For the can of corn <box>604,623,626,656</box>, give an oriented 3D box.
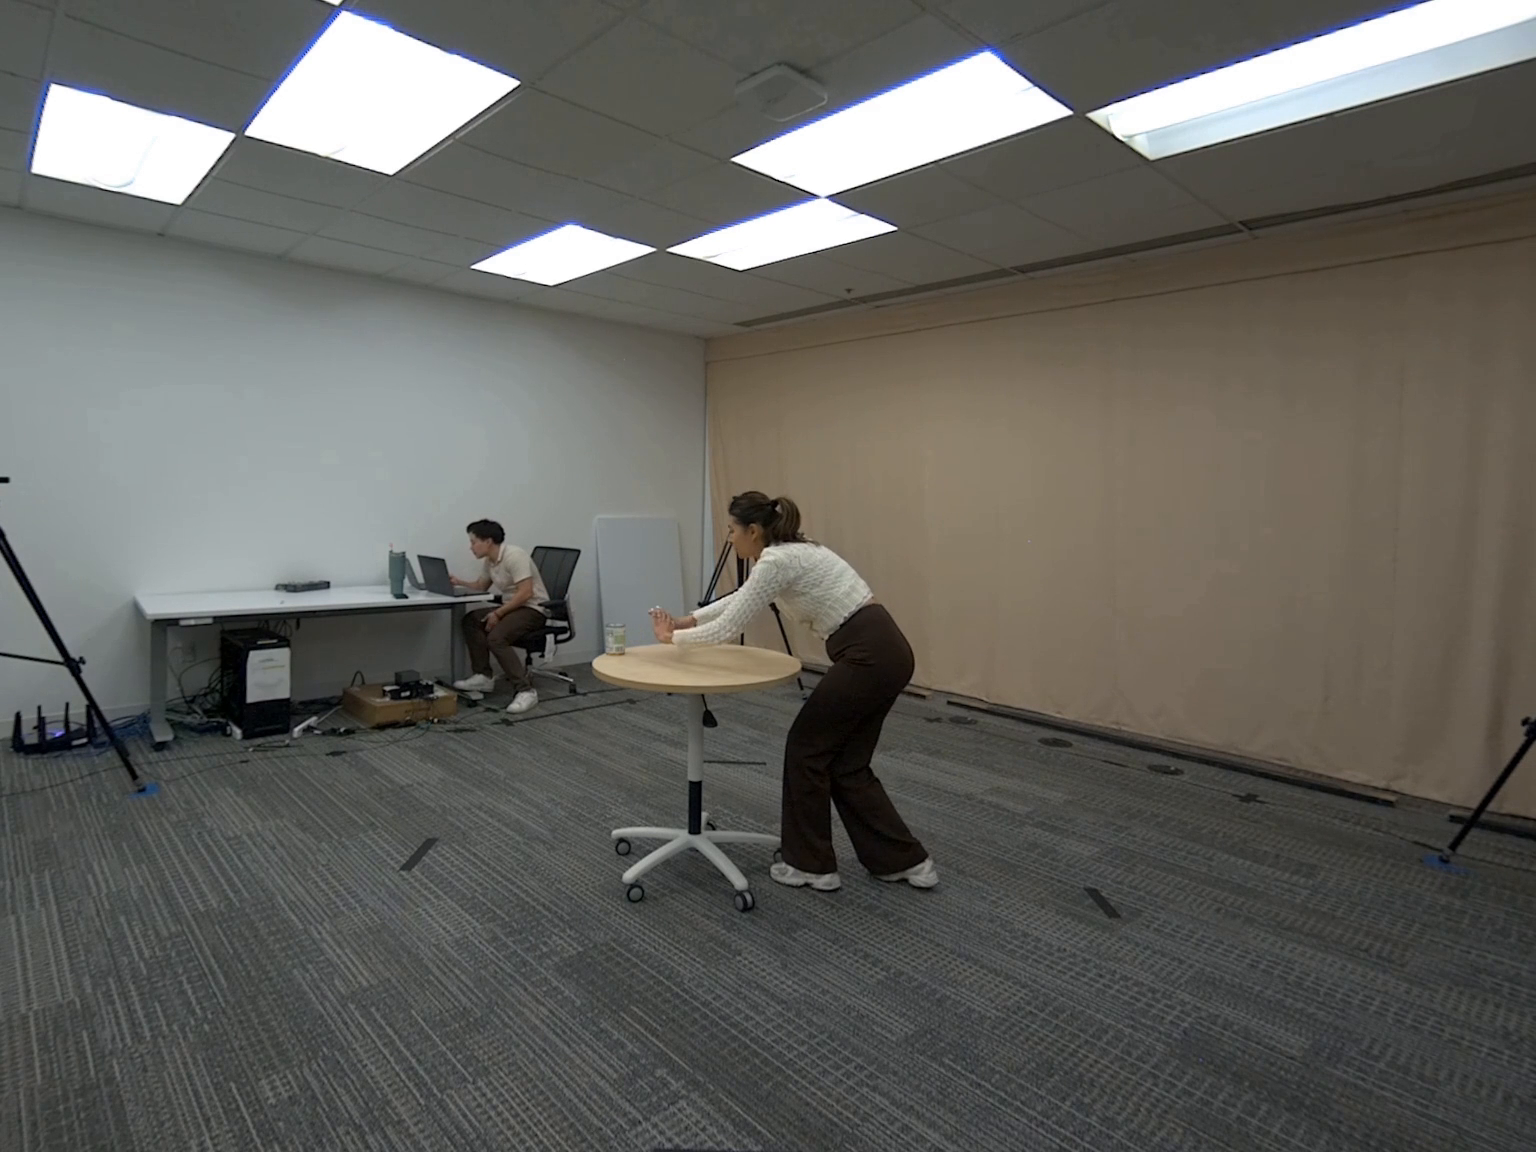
[{"bbox_3d":[-0.585,0.243,3.218,0.074,0.111,0.074,-1,1,-1],"label":"can of corn"}]
